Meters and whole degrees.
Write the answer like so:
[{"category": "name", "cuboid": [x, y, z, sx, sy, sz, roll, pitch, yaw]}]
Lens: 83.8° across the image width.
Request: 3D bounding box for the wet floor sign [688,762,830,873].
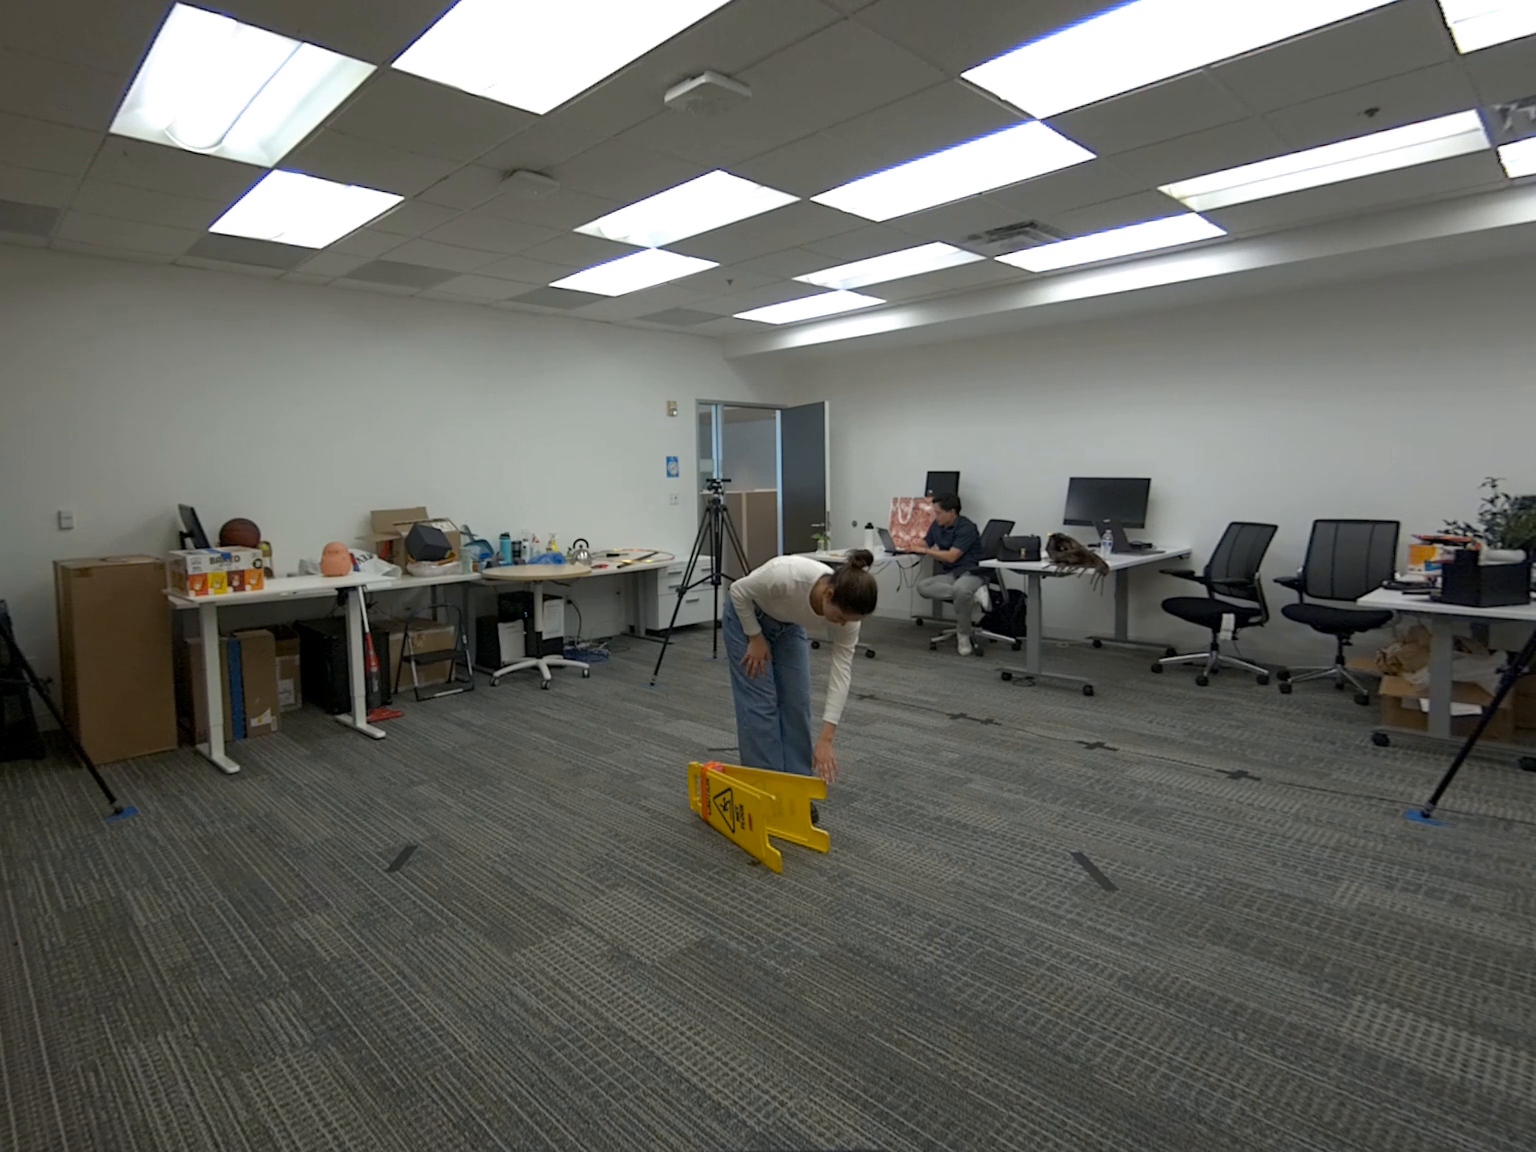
[{"category": "wet floor sign", "cuboid": [-0.099, 0.890, 3.333, 0.282, 0.281, 0.666, -5, 6, -43]}]
